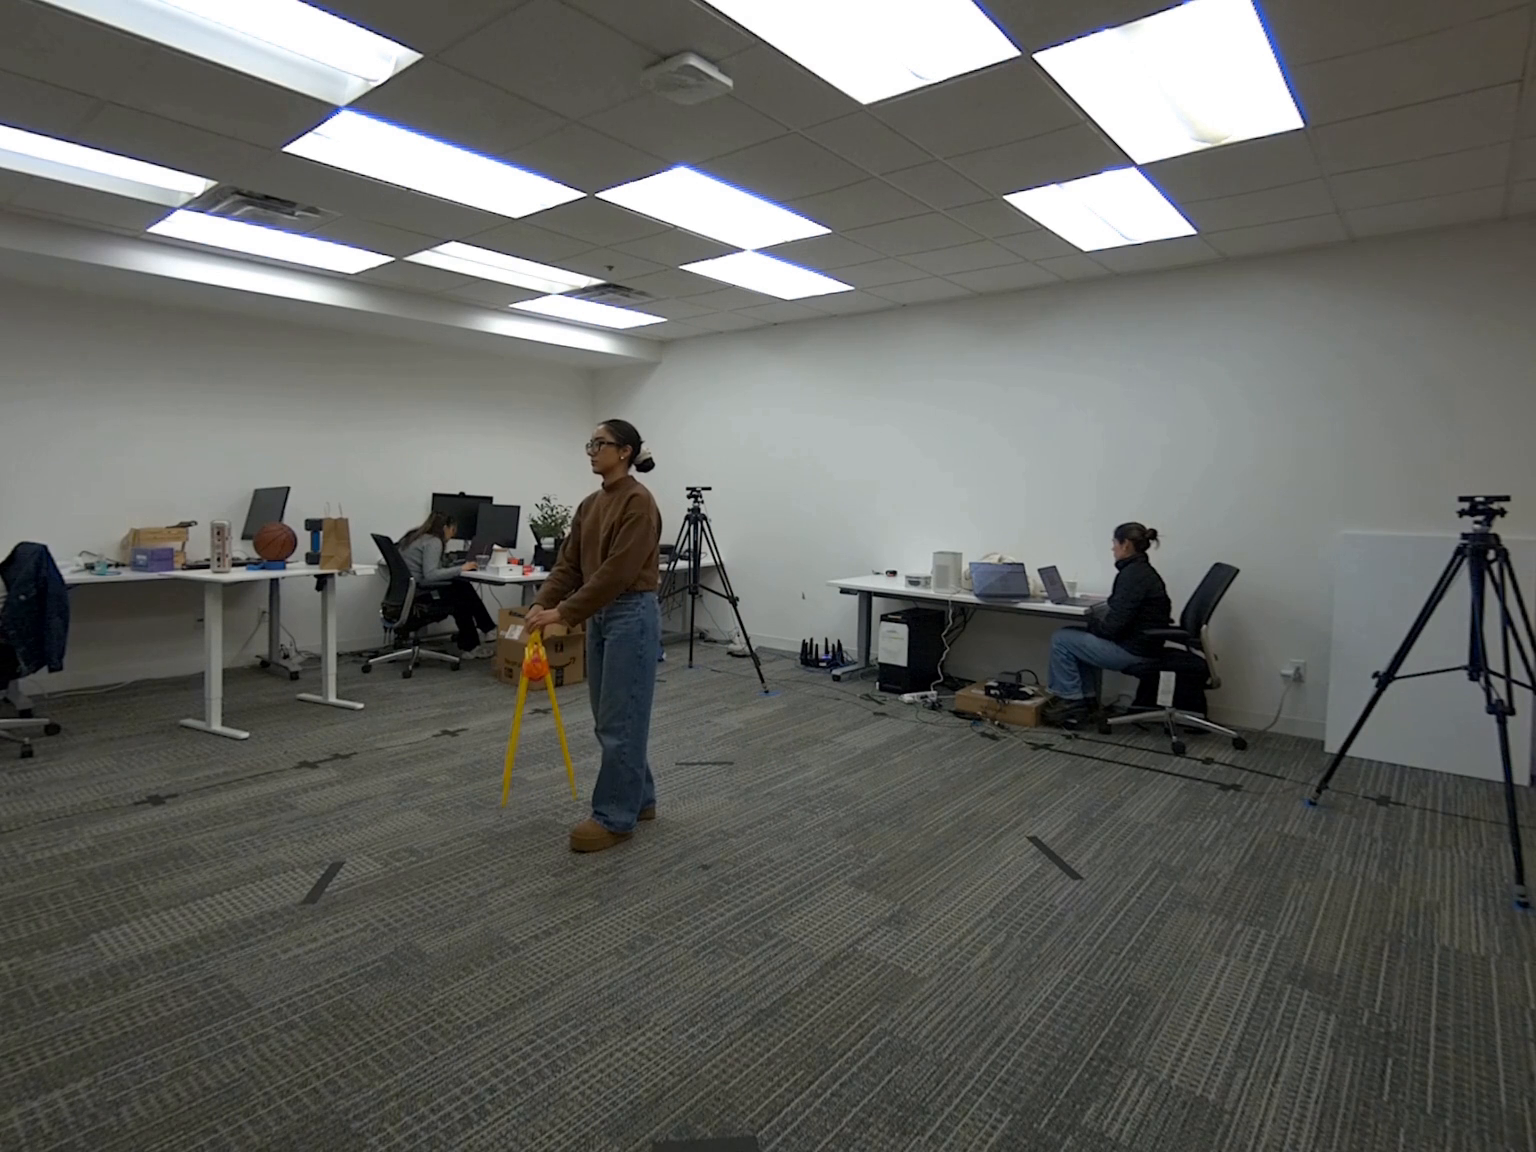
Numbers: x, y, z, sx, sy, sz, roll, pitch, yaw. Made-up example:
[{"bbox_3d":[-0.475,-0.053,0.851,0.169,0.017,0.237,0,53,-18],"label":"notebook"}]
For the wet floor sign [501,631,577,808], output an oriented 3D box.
[{"bbox_3d":[-0.894,0.502,3.237,0.285,0.643,0.288,1,6,-15],"label":"wet floor sign"}]
